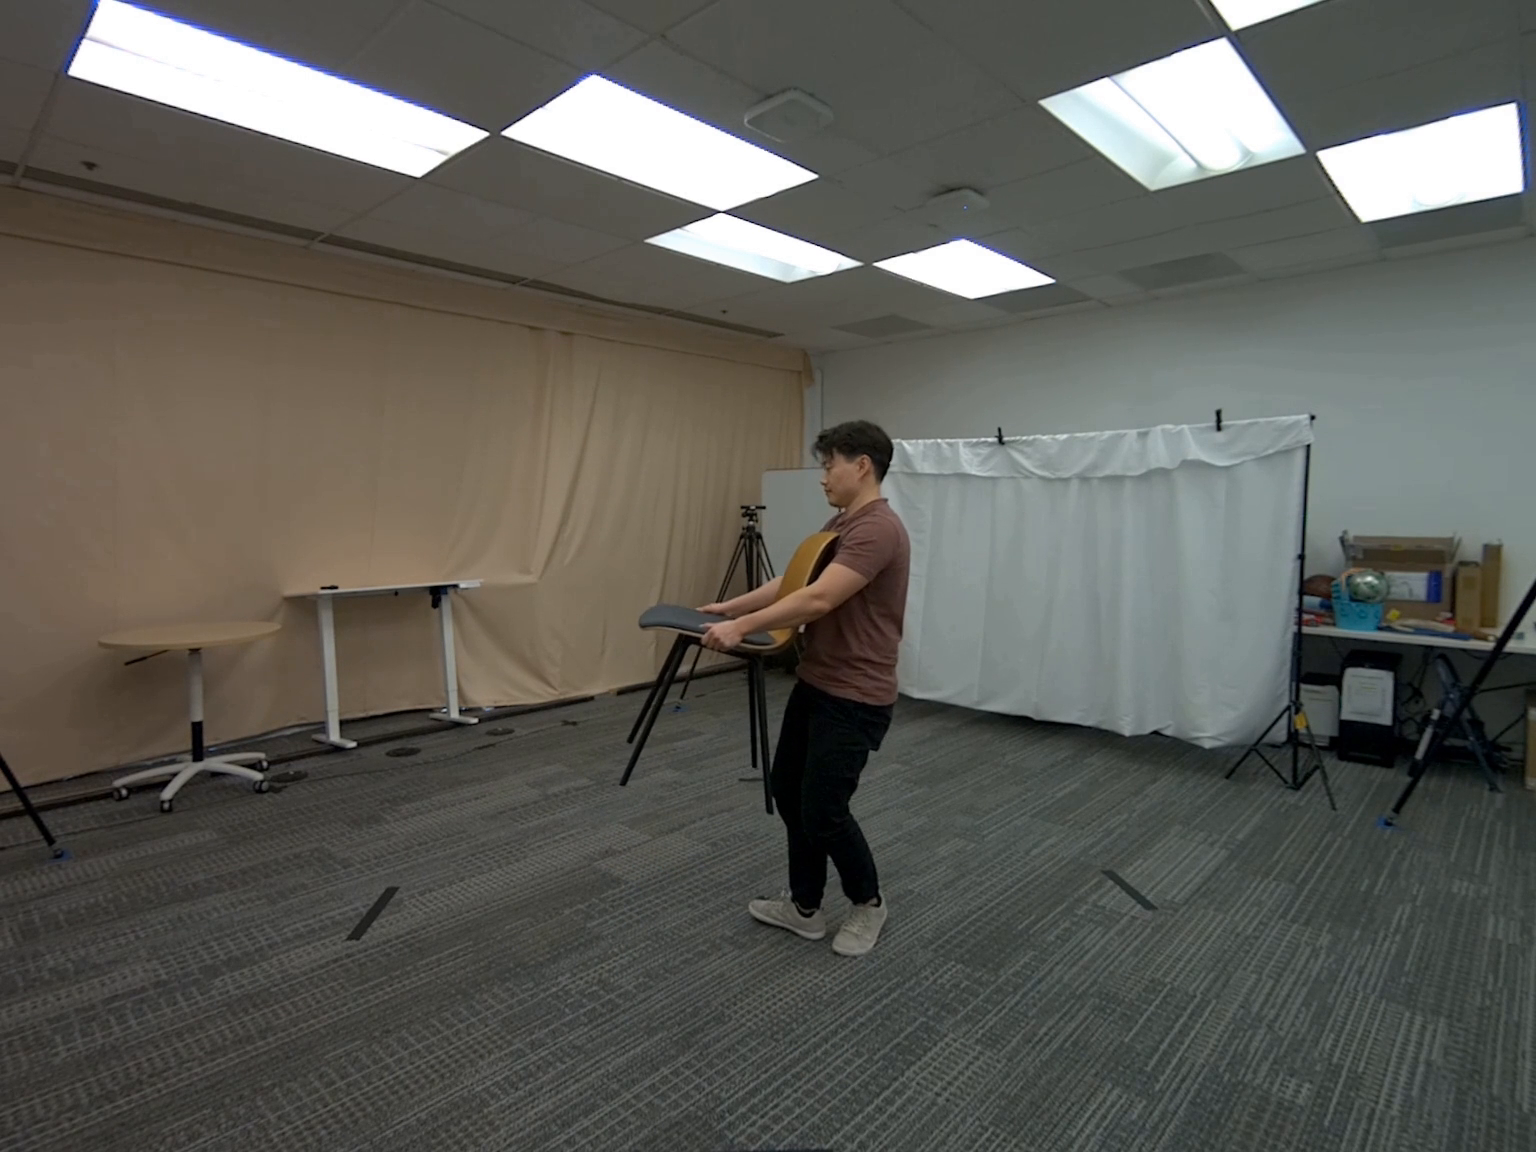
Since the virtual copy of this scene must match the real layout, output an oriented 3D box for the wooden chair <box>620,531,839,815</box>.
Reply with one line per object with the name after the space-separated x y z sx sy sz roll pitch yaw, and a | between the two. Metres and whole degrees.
-0.147 0.220 2.627 0.520 0.877 0.482 16 2 -7 | wooden chair
